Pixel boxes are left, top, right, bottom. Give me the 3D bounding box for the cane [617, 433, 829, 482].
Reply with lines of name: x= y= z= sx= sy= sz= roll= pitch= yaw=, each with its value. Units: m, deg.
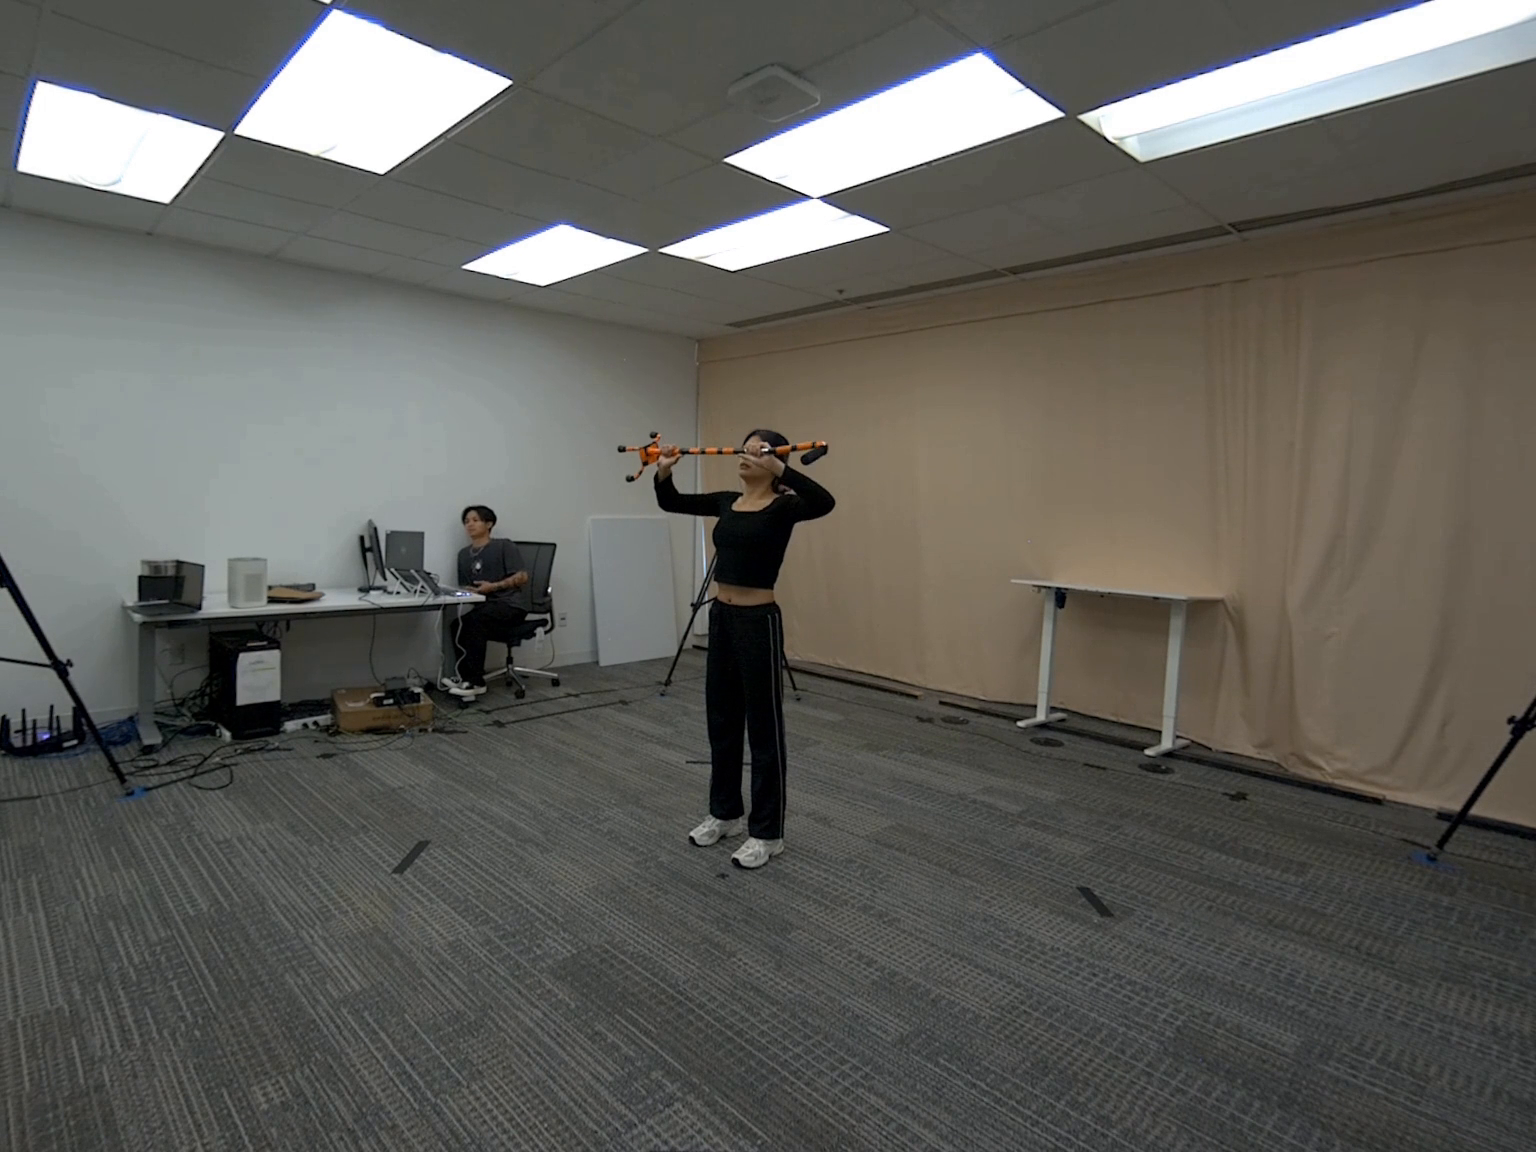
cane: x=-0.167 y=-0.434 z=3.026 sx=0.932 sy=0.149 sz=0.205 roll=7 pitch=28 yaw=42
